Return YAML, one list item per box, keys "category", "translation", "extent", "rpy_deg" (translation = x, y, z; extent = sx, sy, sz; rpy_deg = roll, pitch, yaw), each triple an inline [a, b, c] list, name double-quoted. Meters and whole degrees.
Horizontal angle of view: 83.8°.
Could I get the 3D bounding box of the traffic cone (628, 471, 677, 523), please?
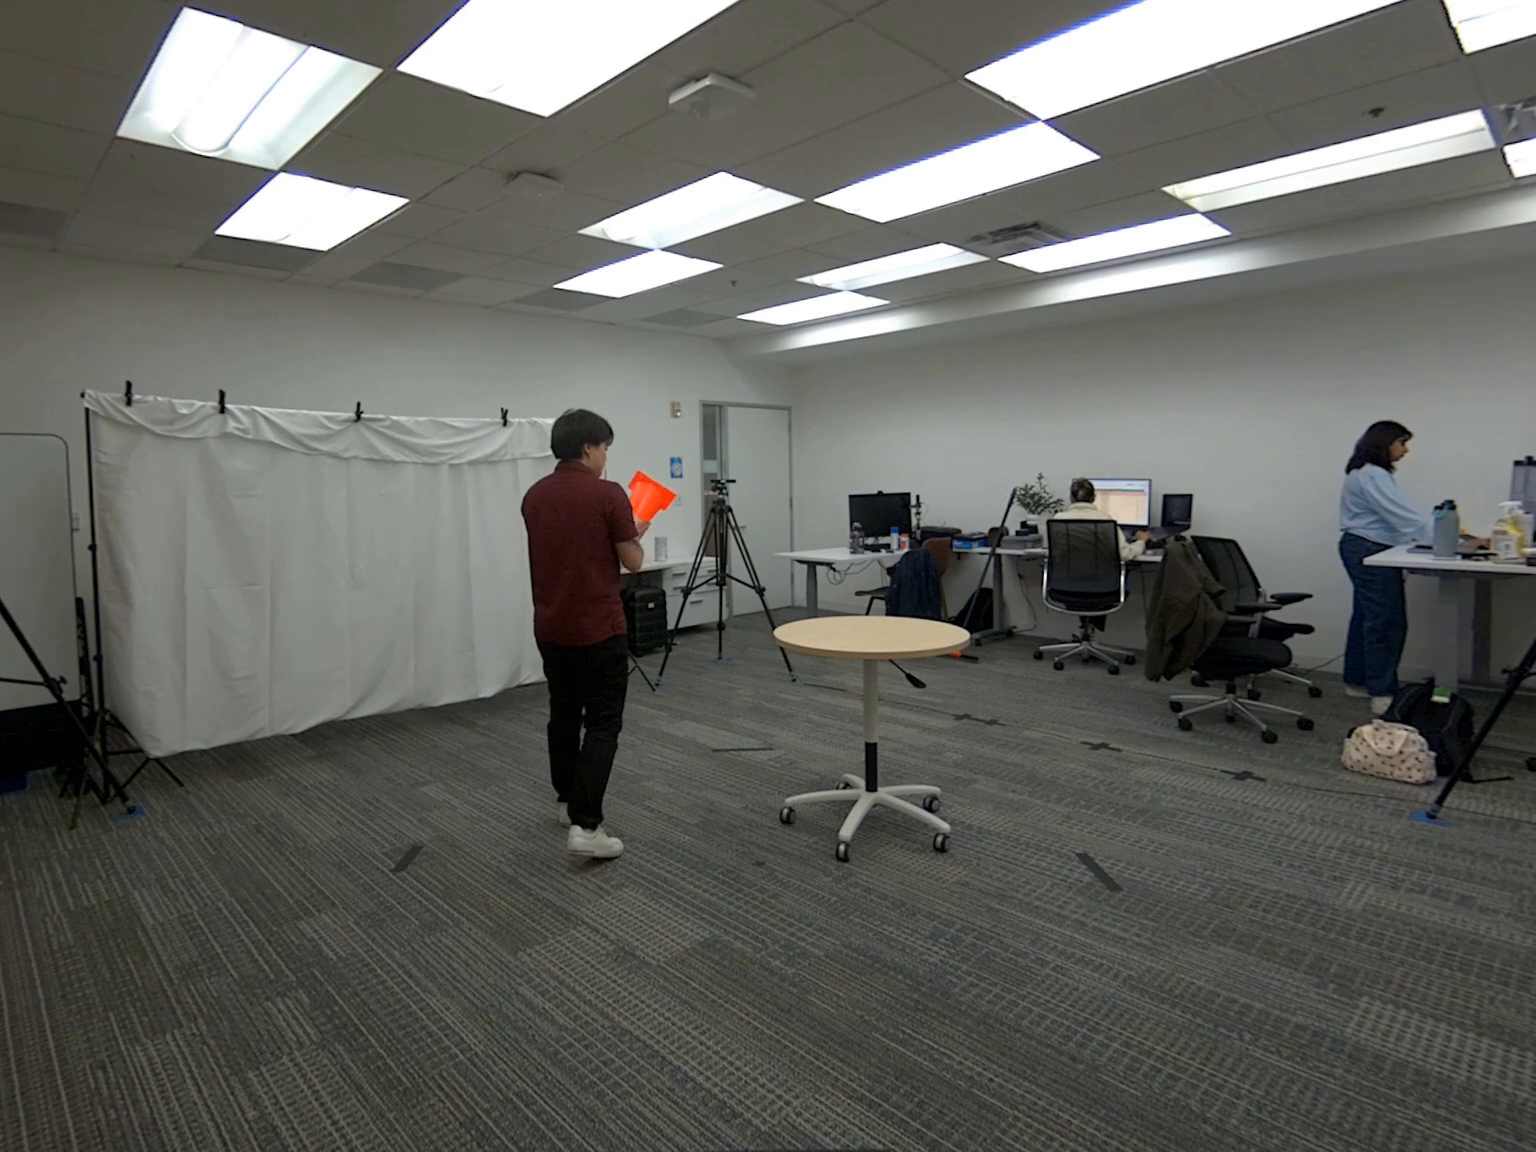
- category: "traffic cone"
  translation: [-0.574, -0.212, 3.621]
  extent: [0.201, 0.387, 0.205]
  rpy_deg: [30, -27, -9]
